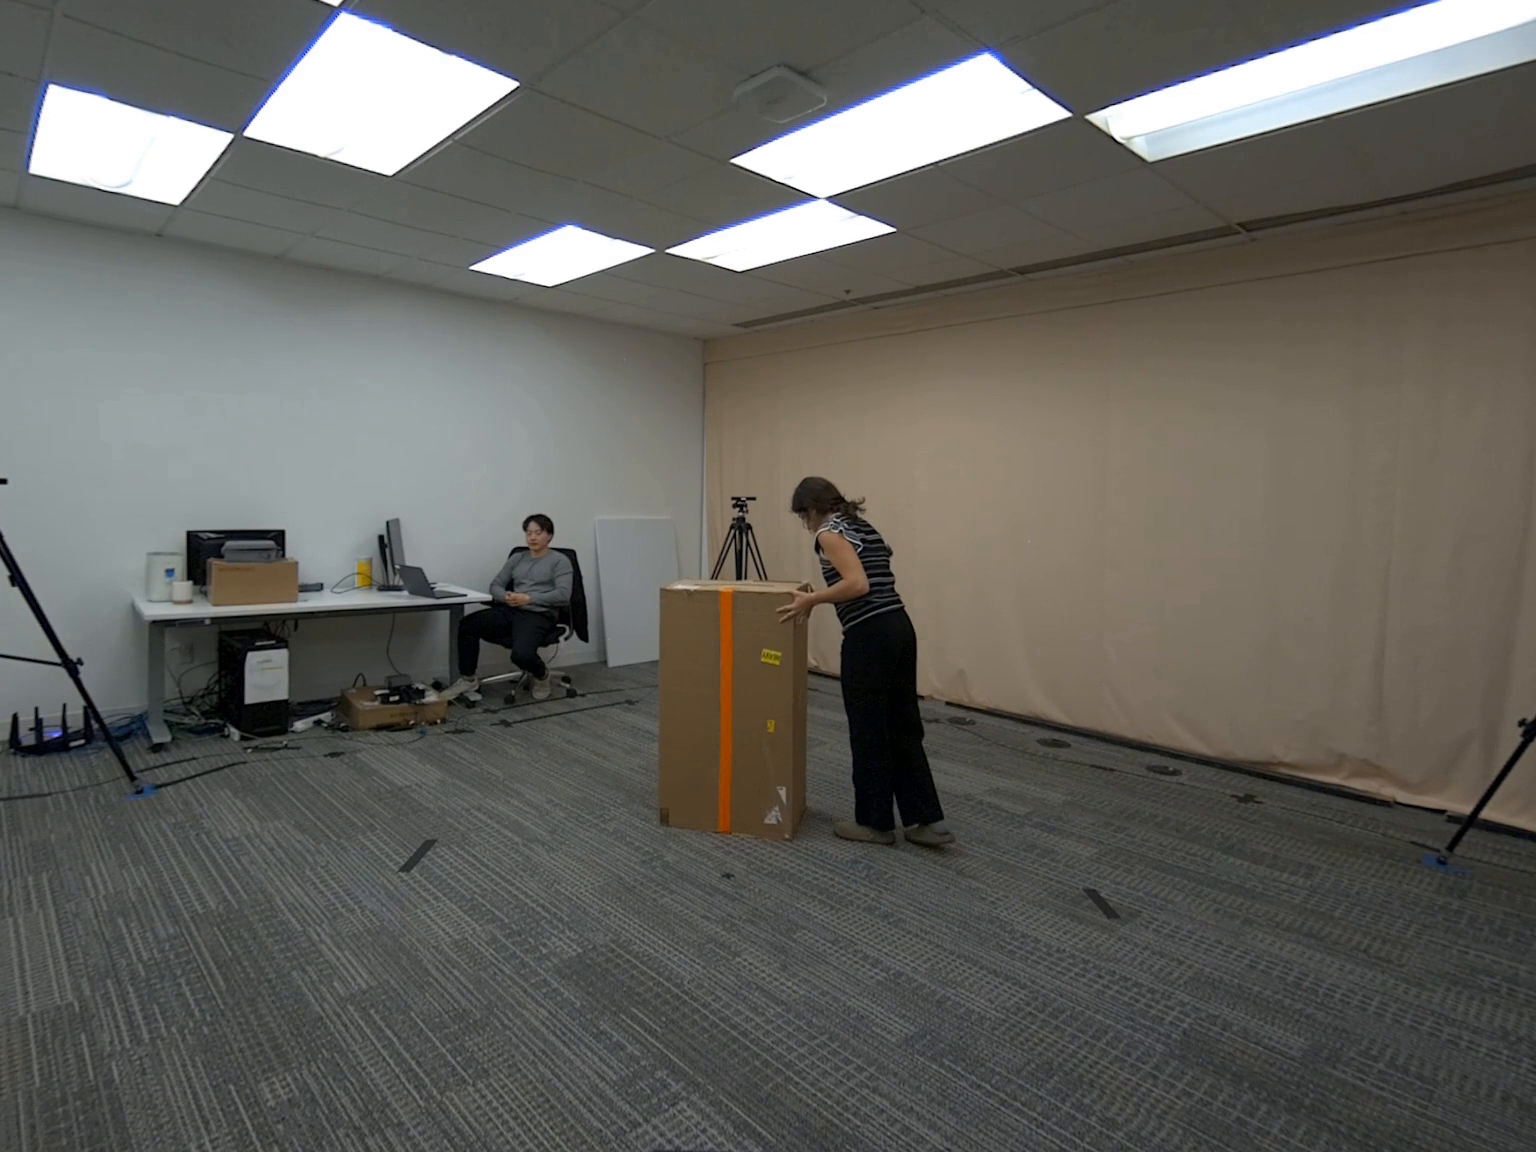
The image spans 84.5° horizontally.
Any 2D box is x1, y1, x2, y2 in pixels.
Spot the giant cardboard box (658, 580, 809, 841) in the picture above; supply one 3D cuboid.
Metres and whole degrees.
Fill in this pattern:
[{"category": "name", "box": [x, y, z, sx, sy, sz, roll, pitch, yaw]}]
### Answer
[{"category": "giant cardboard box", "box": [-0.142, 0.550, 3.681, 0.584, 1.023, 0.422, 1, 3, 14]}]
